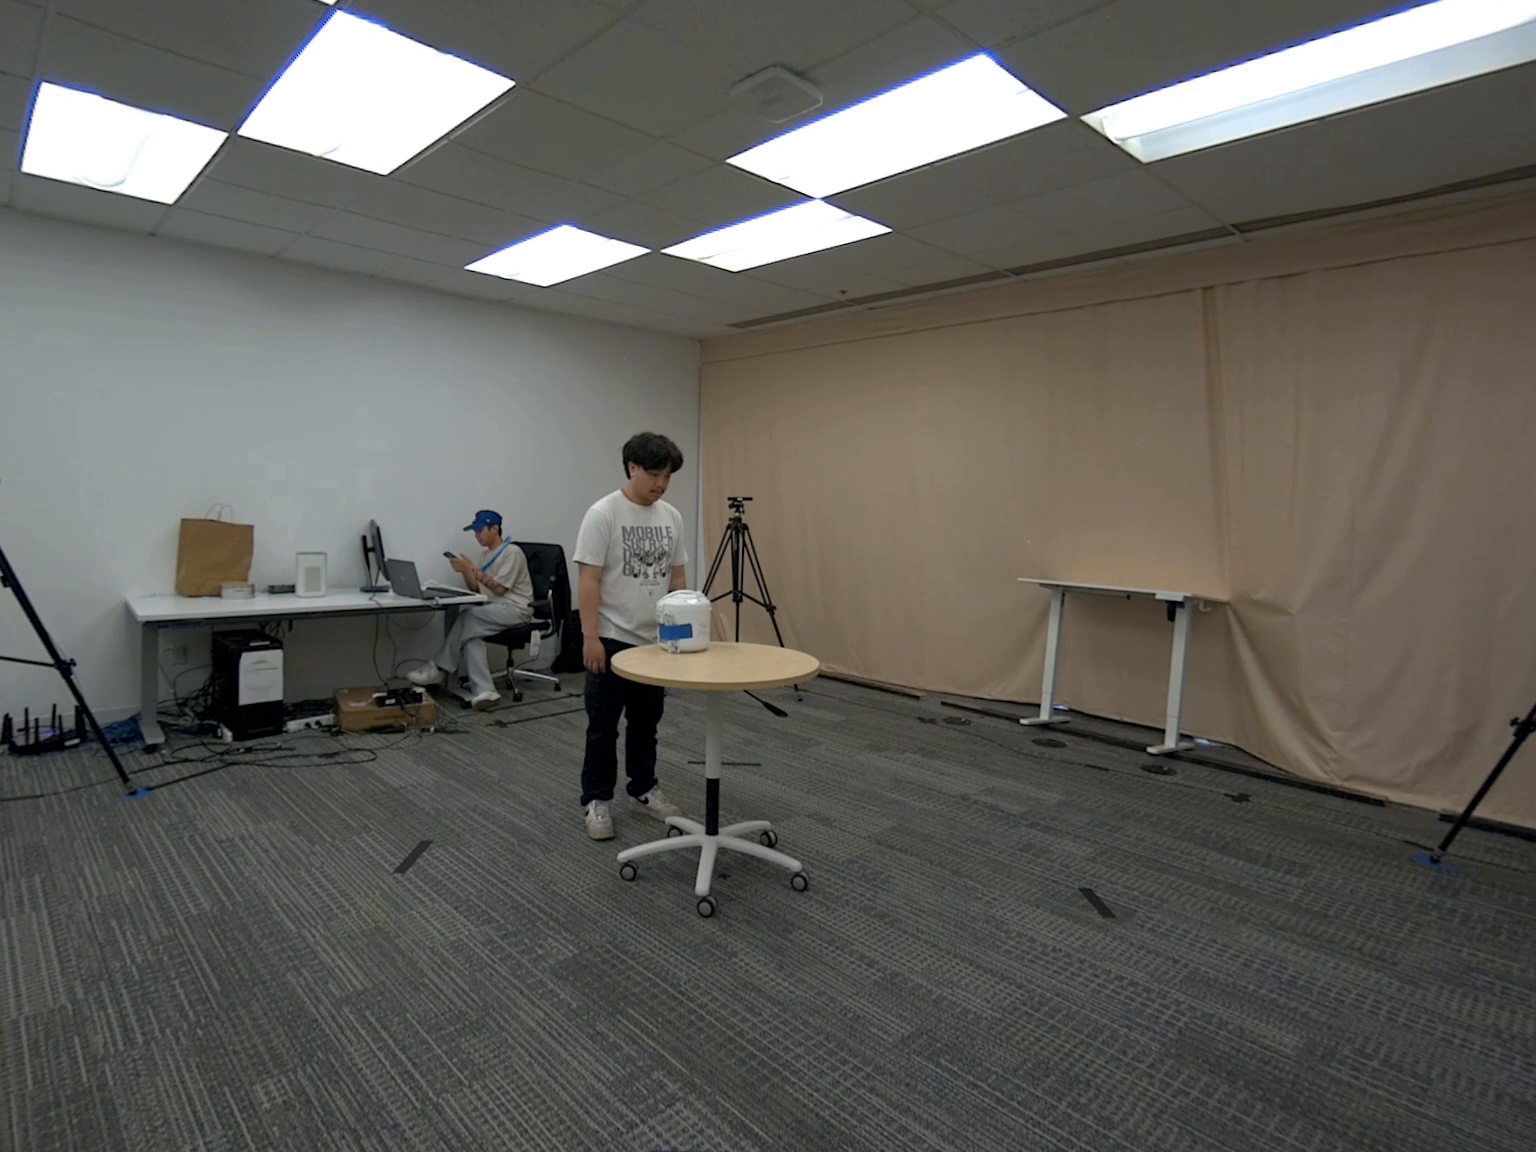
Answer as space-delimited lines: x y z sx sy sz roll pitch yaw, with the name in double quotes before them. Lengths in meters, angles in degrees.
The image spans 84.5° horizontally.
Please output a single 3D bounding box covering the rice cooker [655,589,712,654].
"rice cooker" -0.339 0.171 3.306 0.217 0.232 0.222 0 5 -23
